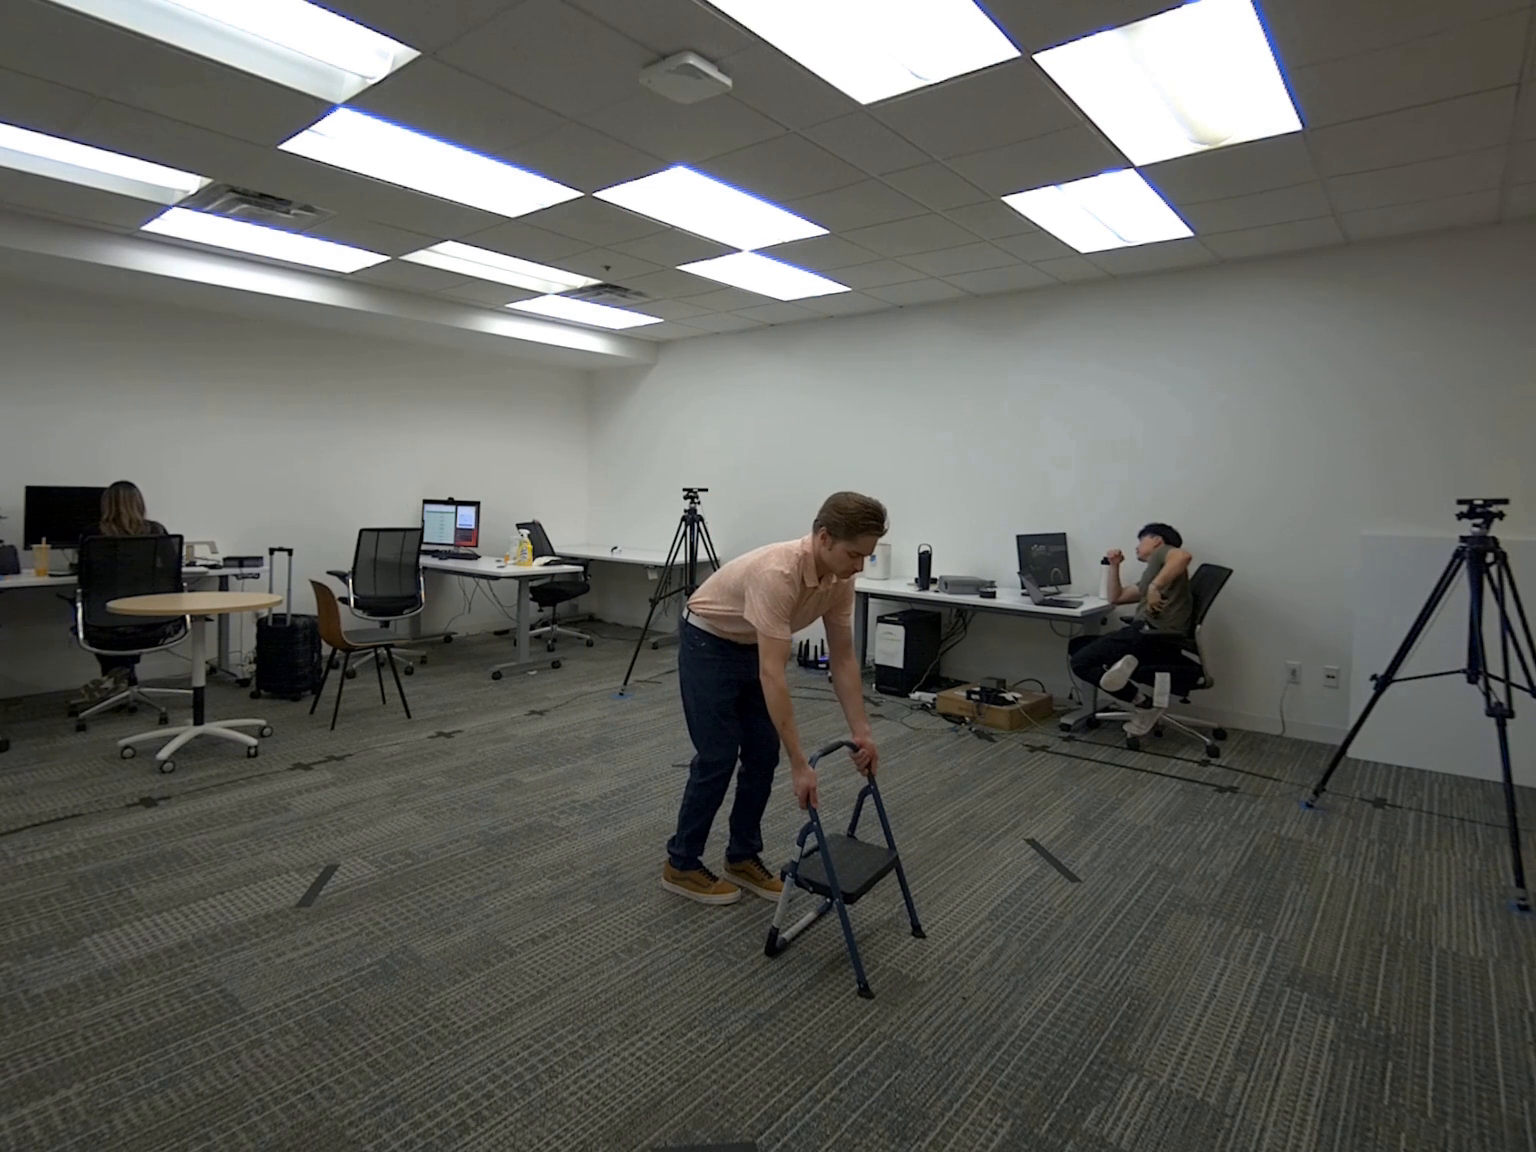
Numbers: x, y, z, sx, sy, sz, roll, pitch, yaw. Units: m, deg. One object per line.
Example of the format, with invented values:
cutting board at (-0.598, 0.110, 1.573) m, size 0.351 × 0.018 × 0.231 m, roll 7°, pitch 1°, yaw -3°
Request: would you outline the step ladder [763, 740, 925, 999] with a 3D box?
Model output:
step ladder at (0.242, 0.827, 2.590) m, size 0.360 × 0.604 × 0.419 m, roll 4°, pitch 4°, yaw 32°
